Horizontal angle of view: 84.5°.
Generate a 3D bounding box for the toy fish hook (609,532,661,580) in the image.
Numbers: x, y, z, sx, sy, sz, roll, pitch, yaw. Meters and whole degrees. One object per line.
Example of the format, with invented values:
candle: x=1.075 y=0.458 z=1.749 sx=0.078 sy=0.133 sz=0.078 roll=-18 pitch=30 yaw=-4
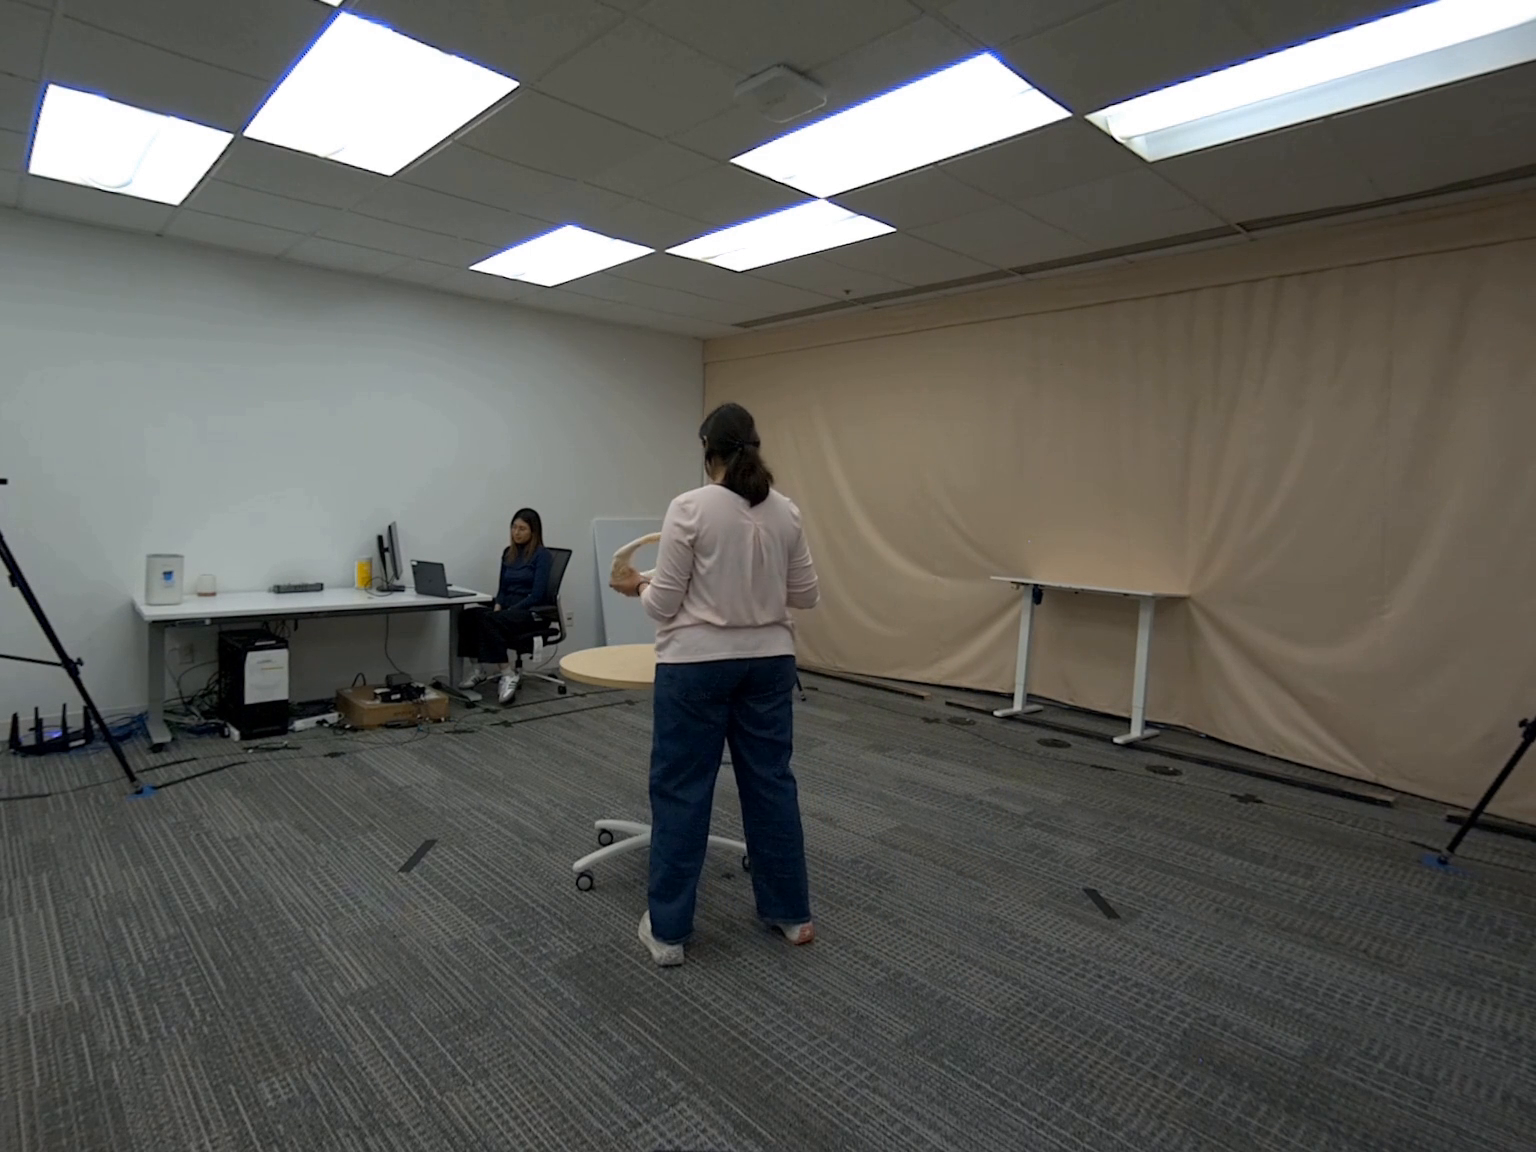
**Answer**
toy fish hook: x=-0.294 y=-0.065 z=2.864 sx=0.498 sy=0.222 sz=0.050 roll=-11 pitch=51 yaw=-33
